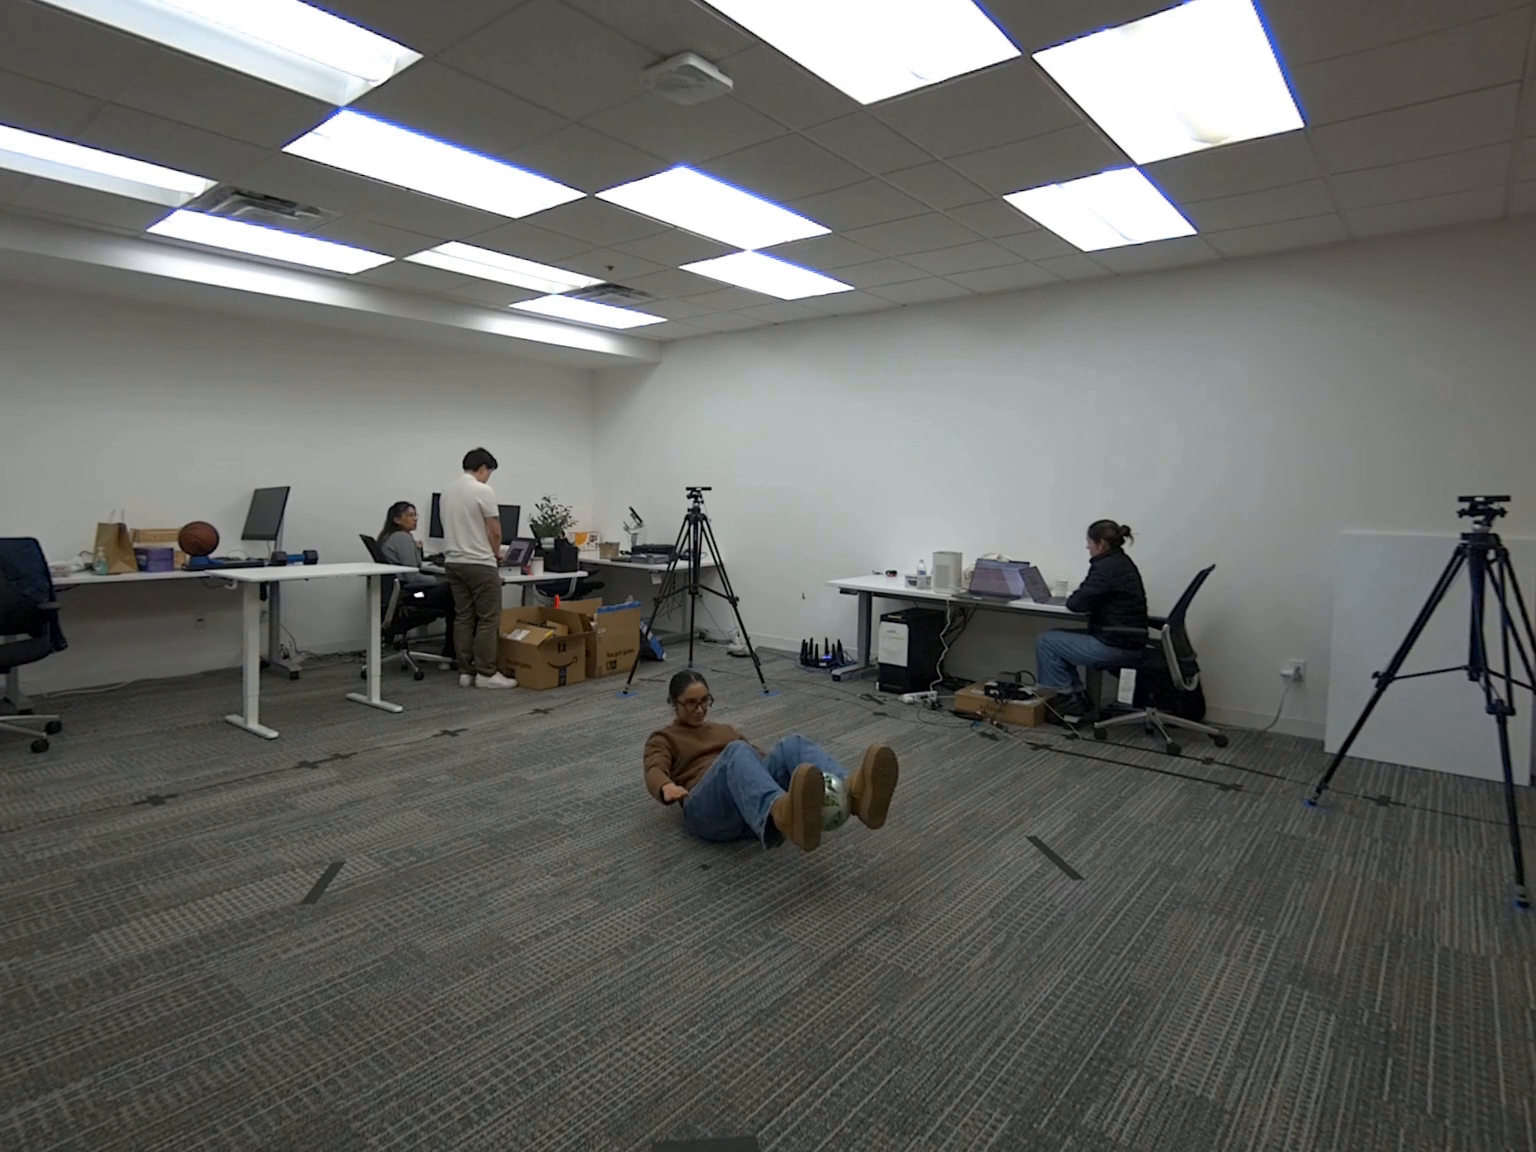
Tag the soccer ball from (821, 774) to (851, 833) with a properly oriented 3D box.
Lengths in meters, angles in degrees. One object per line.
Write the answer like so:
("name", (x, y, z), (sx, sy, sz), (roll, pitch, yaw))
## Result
("soccer ball", (0.187, 0.766, 2.882), (0.187, 0.187, 0.188), (1, 4, -2))
